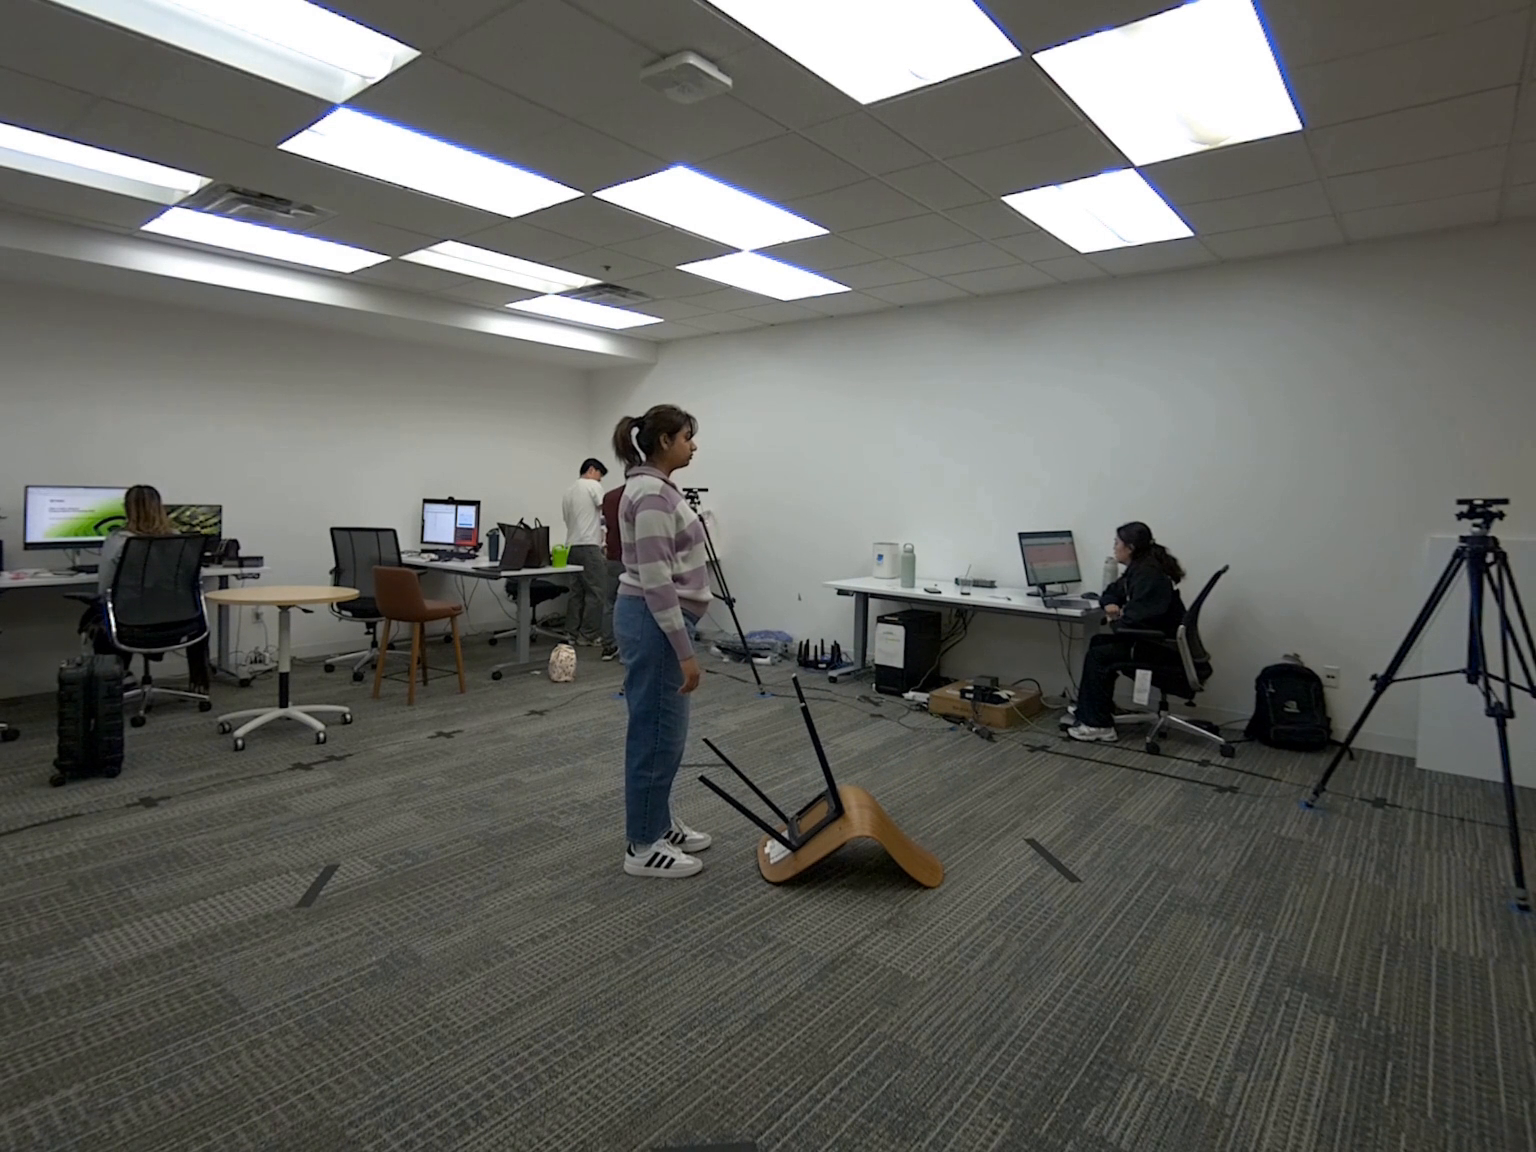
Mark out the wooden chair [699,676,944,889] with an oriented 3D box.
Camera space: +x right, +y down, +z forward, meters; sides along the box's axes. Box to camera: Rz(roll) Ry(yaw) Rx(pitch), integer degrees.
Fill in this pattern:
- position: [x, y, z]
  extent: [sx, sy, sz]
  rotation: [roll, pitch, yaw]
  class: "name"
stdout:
- position: [0.161, 0.902, 3.179]
  extent: [0.523, 0.875, 0.479]
  rotation: [-39, 3, 3]
  class: "wooden chair"
